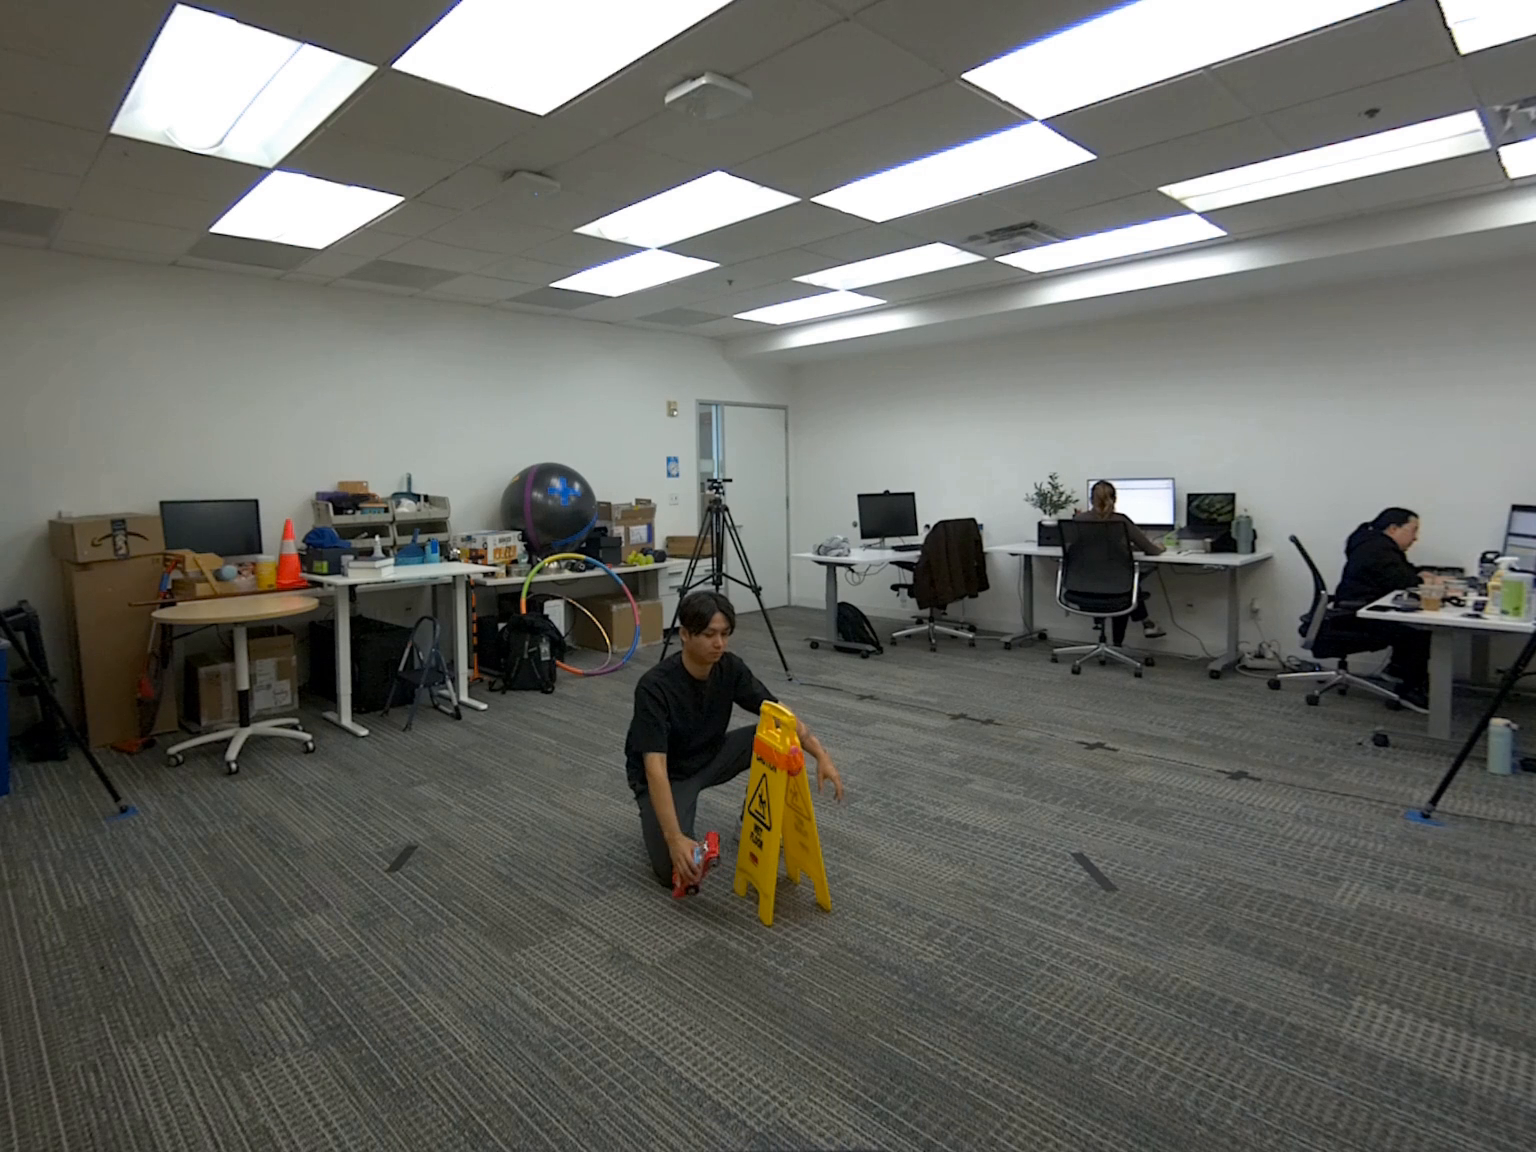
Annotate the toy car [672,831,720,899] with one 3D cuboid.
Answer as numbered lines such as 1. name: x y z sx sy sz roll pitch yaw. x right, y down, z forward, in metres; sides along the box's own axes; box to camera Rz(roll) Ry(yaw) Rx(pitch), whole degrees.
1. toy car: -0.231 0.943 2.777 0.081 0.254 0.133 35 21 -18
